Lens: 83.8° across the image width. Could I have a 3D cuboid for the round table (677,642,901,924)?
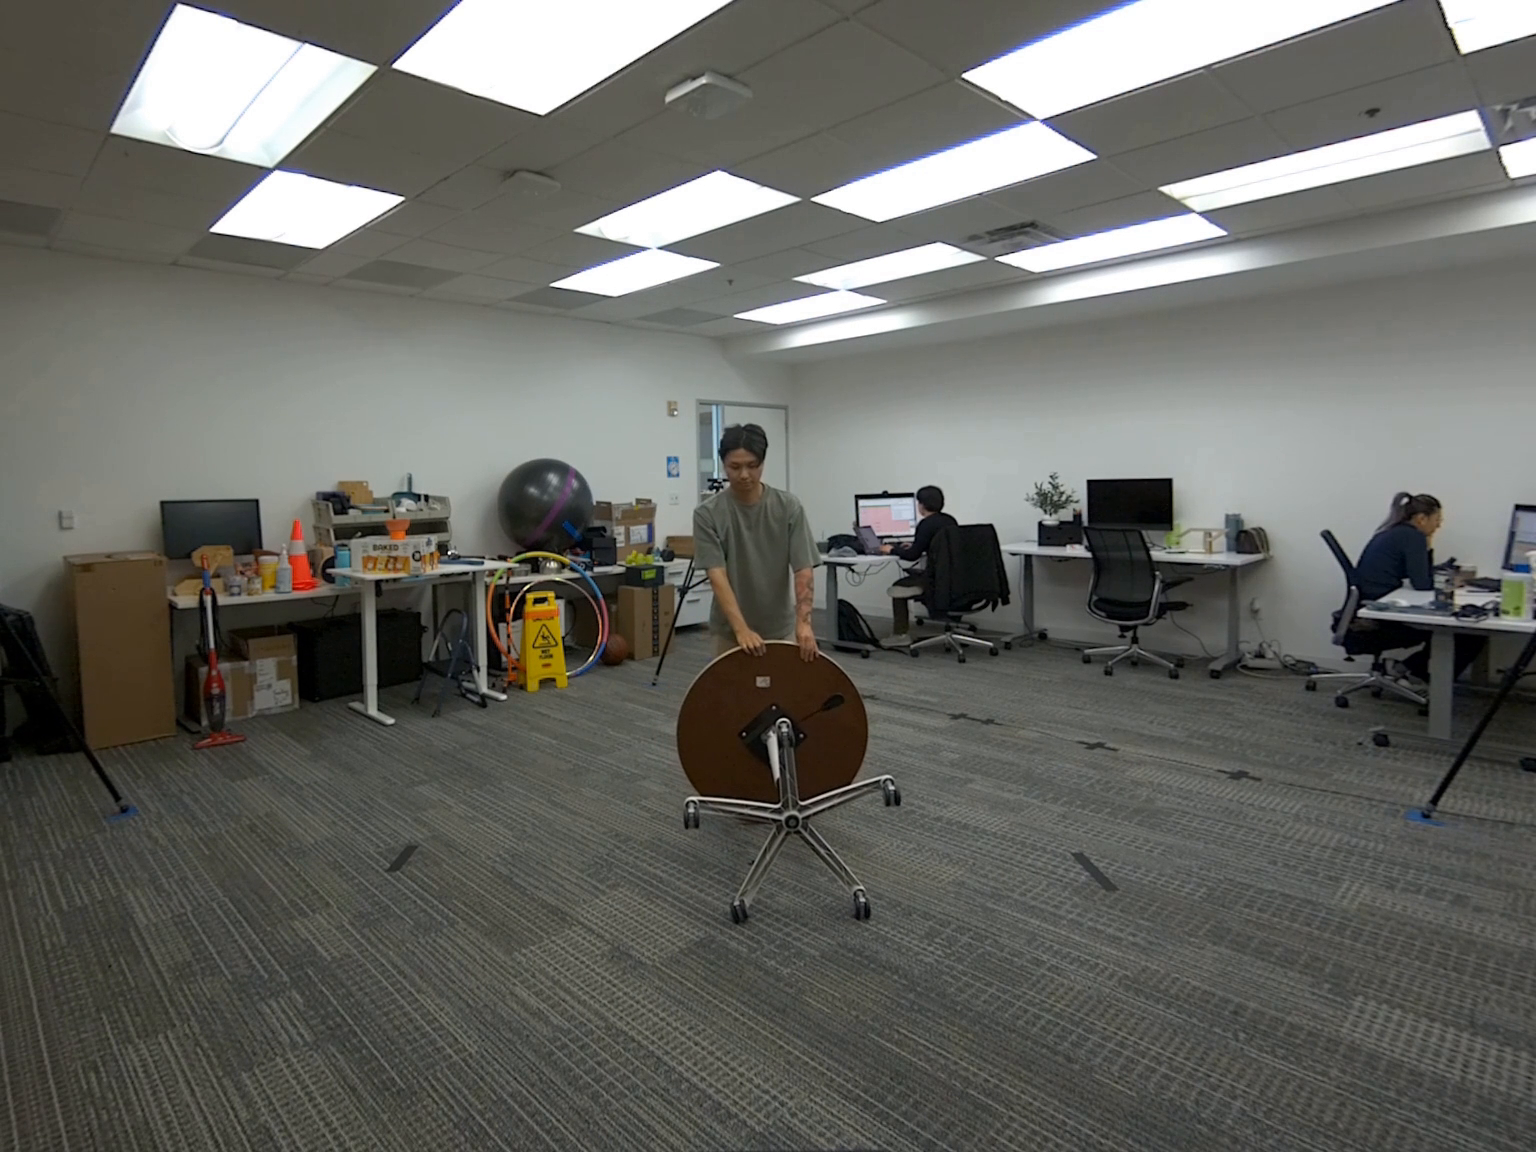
[{"bbox_3d":[0.054,0.709,3.024,0.782,0.778,0.797,-1,11,-4],"label":"round table"}]
